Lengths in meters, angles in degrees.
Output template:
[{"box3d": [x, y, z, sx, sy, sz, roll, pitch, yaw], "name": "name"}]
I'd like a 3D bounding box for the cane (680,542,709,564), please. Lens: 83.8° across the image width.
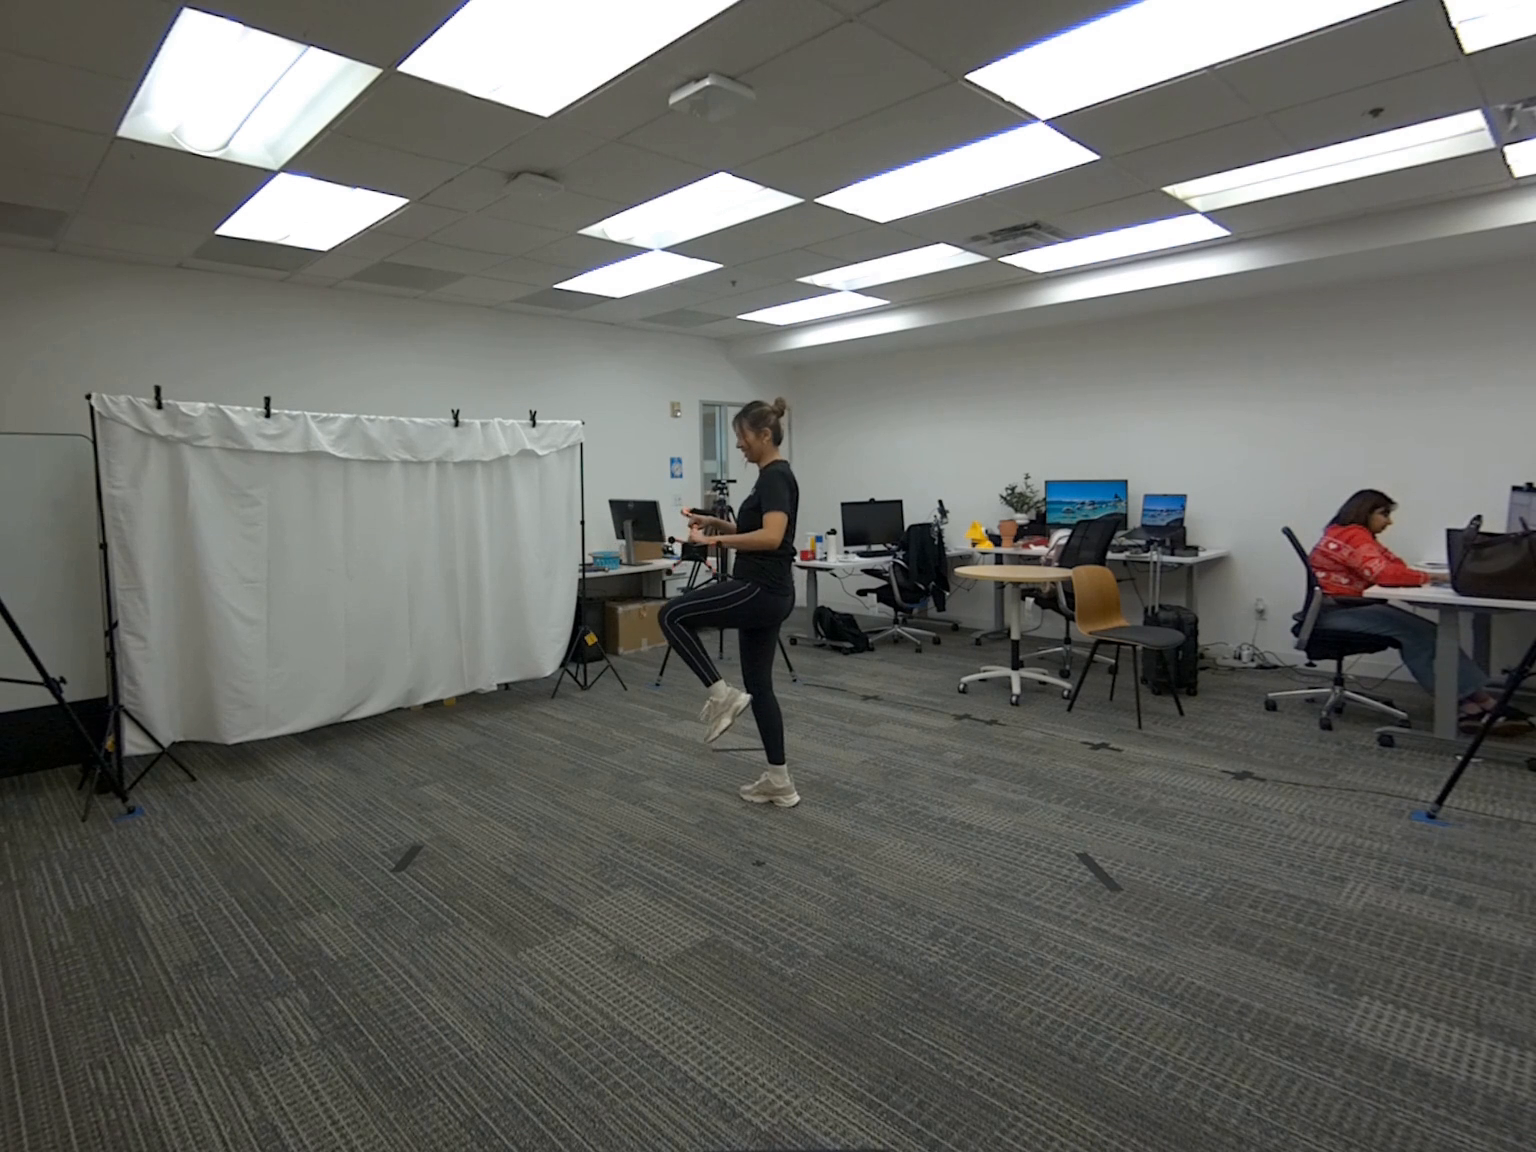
[{"box3d": [-0.360, -0.182, 3.622, 0.204, 0.150, 0.922, 17, 13, -9], "name": "cane"}]
